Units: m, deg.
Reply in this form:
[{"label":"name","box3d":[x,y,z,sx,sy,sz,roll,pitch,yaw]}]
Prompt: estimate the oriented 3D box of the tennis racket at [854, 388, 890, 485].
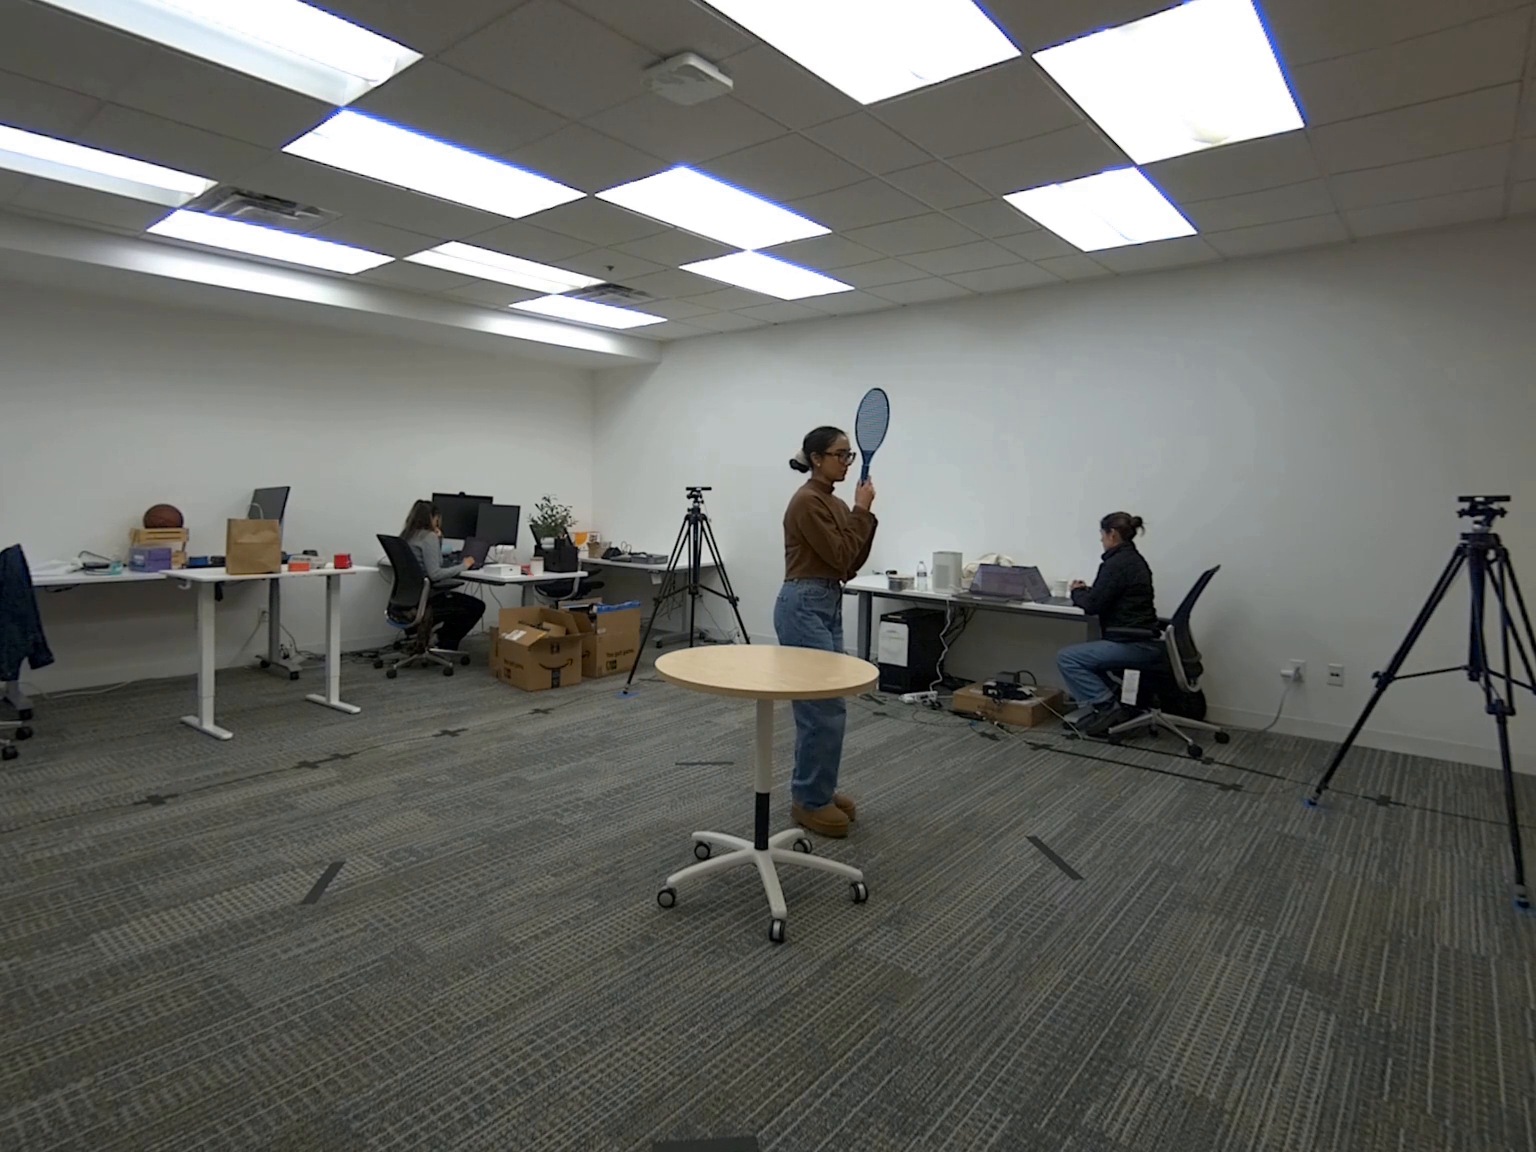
[{"label":"tennis racket","box3d":[0.389,-0.553,3.457,0.208,0.428,0.033,-7,17,-44]}]
